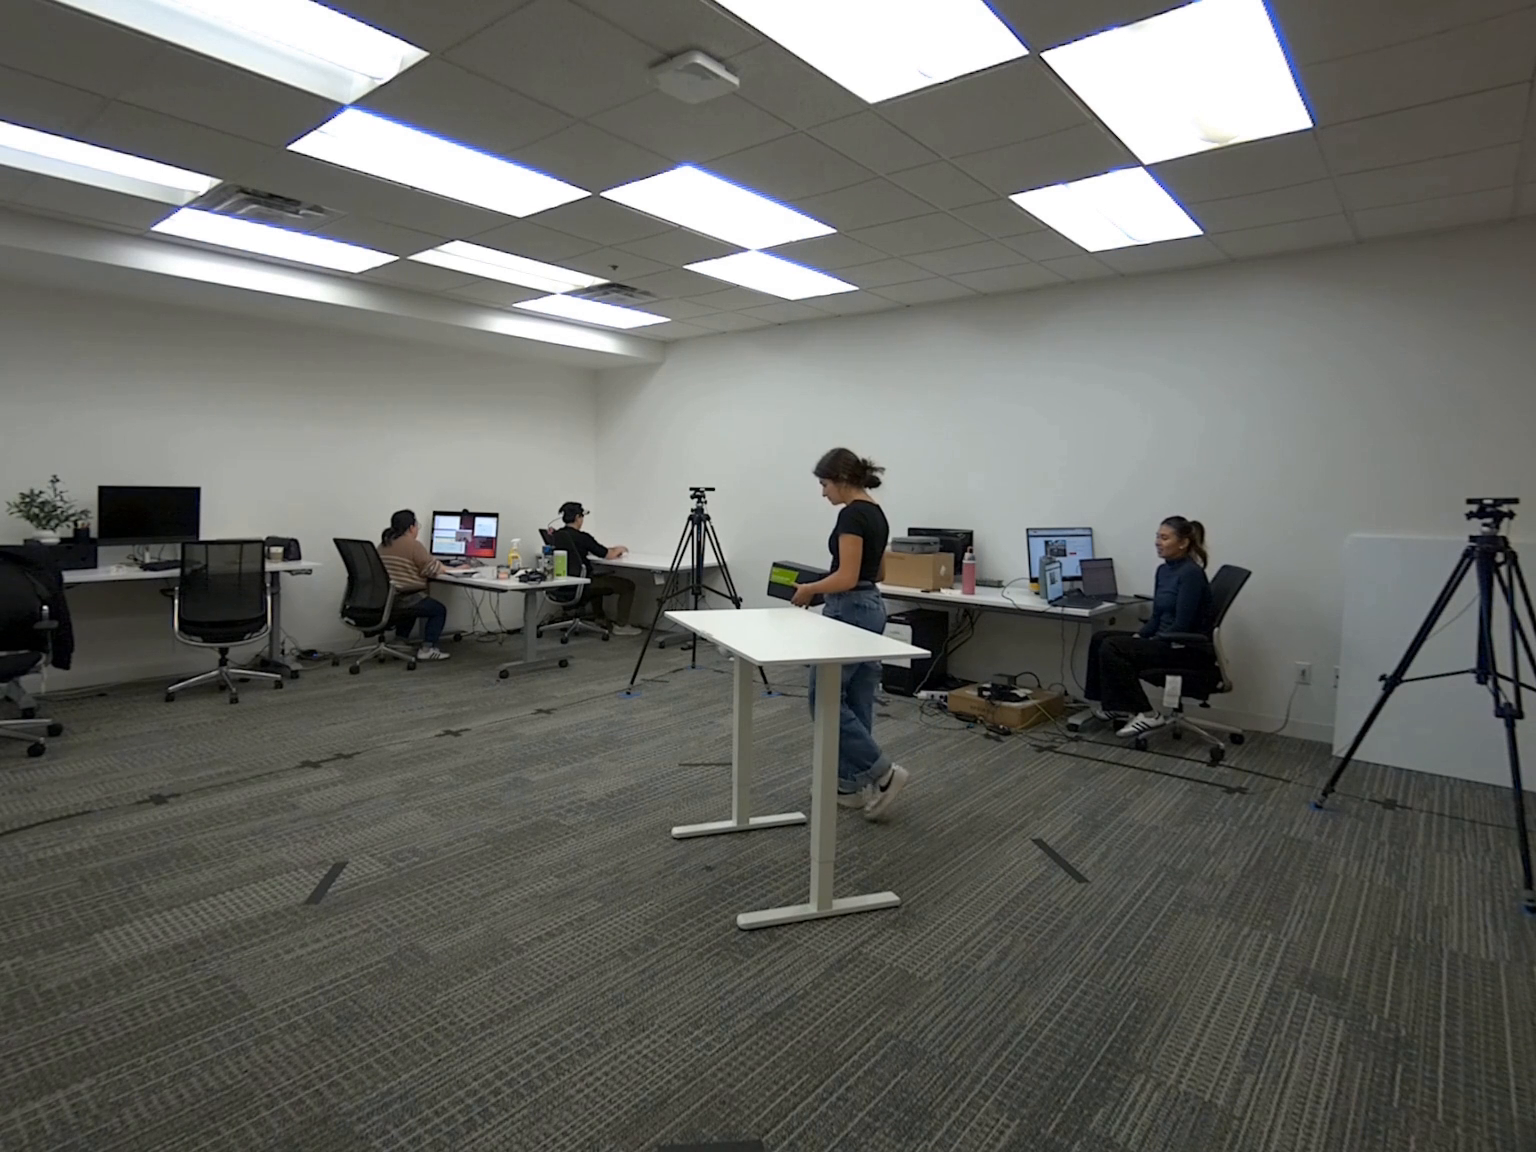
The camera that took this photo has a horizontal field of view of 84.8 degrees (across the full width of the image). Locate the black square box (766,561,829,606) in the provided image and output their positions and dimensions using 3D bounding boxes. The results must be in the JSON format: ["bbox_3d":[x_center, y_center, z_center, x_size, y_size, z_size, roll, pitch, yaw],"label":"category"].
[{"bbox_3d":[0.143,0.025,3.900,0.233,0.155,0.213,13,7,18],"label":"black square box"}]
